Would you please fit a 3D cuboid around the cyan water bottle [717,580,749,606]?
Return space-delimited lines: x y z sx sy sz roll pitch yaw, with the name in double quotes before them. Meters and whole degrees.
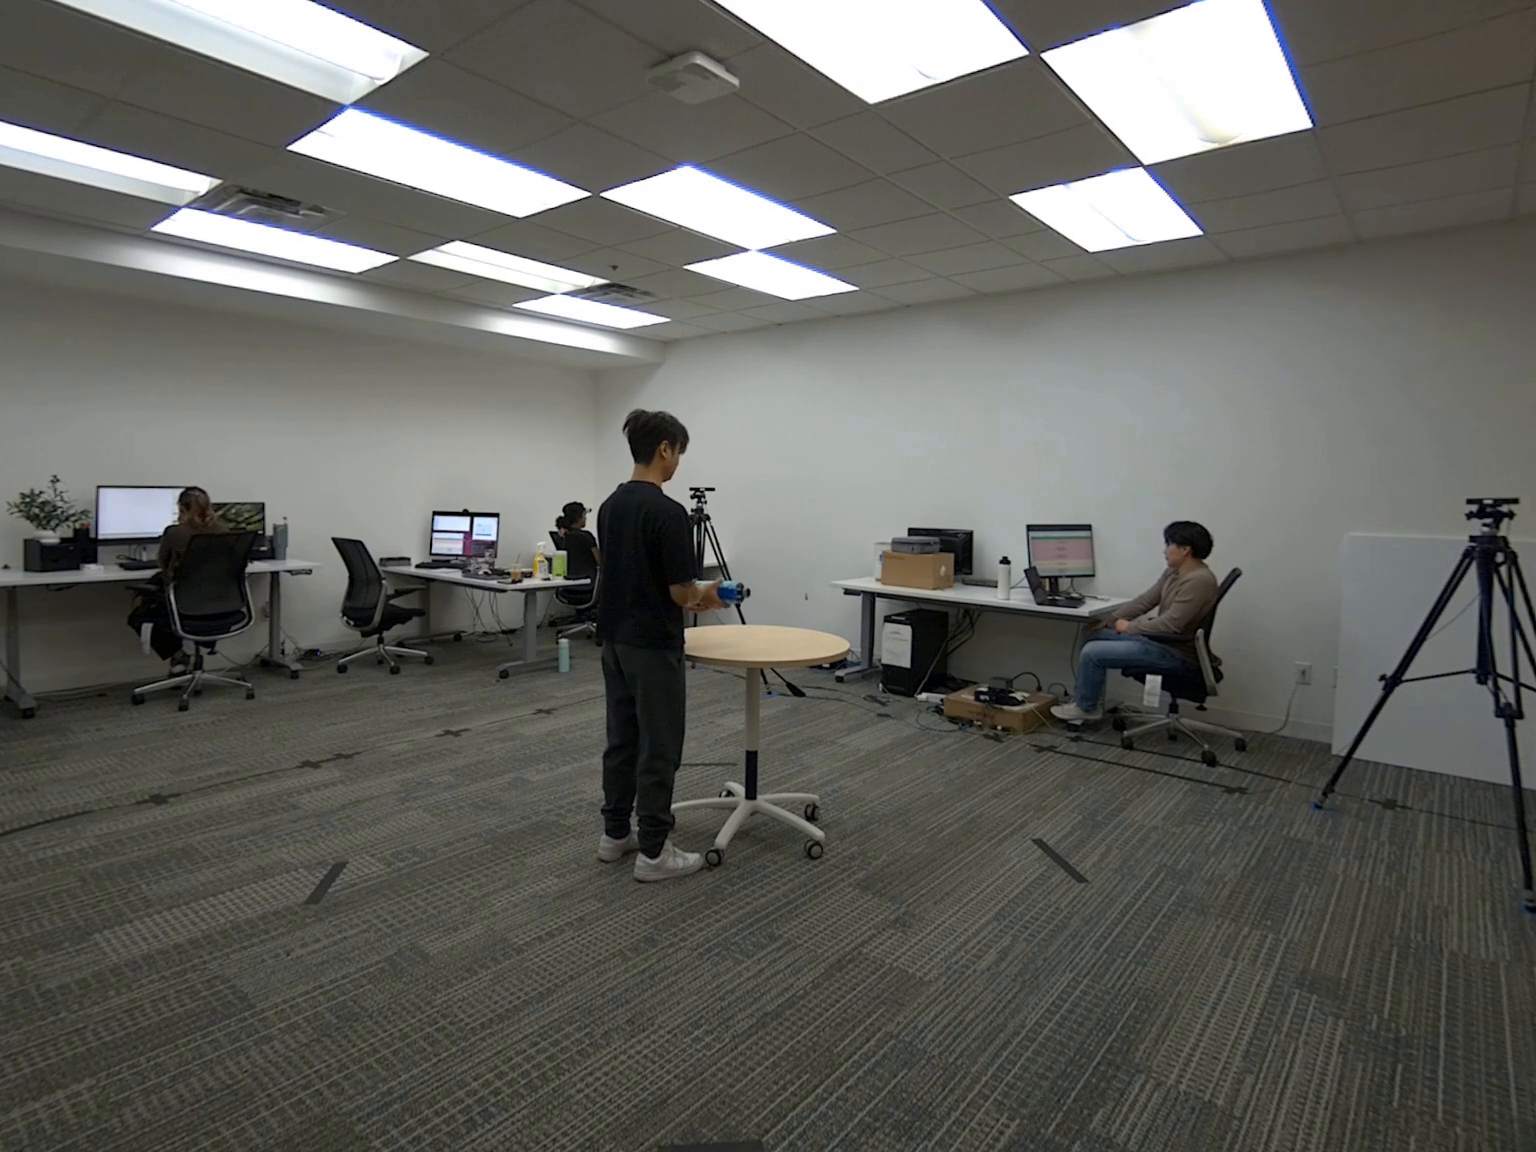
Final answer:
"cyan water bottle" -0.213 0.059 3.266 0.292 0.092 0.090 -1 2 35
